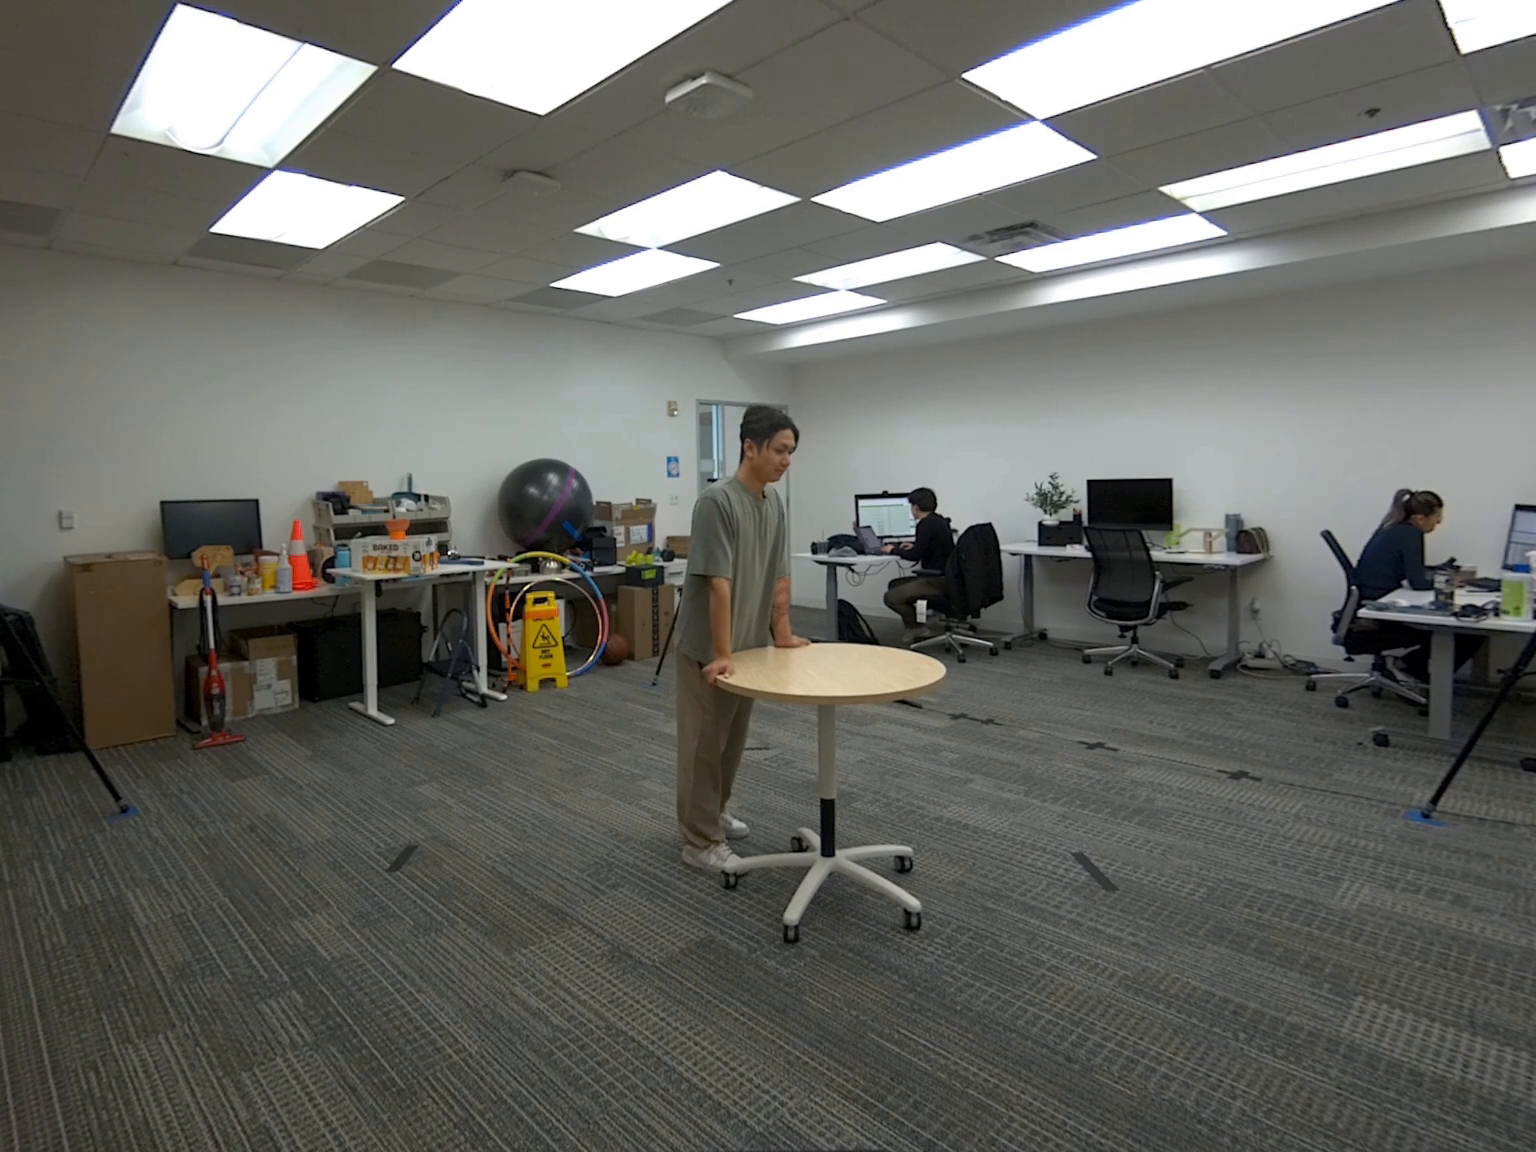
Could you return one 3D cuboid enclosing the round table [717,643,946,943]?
[{"bbox_3d":[0.189,0.682,2.822,0.784,0.783,0.789,-1,5,-2],"label":"round table"}]
